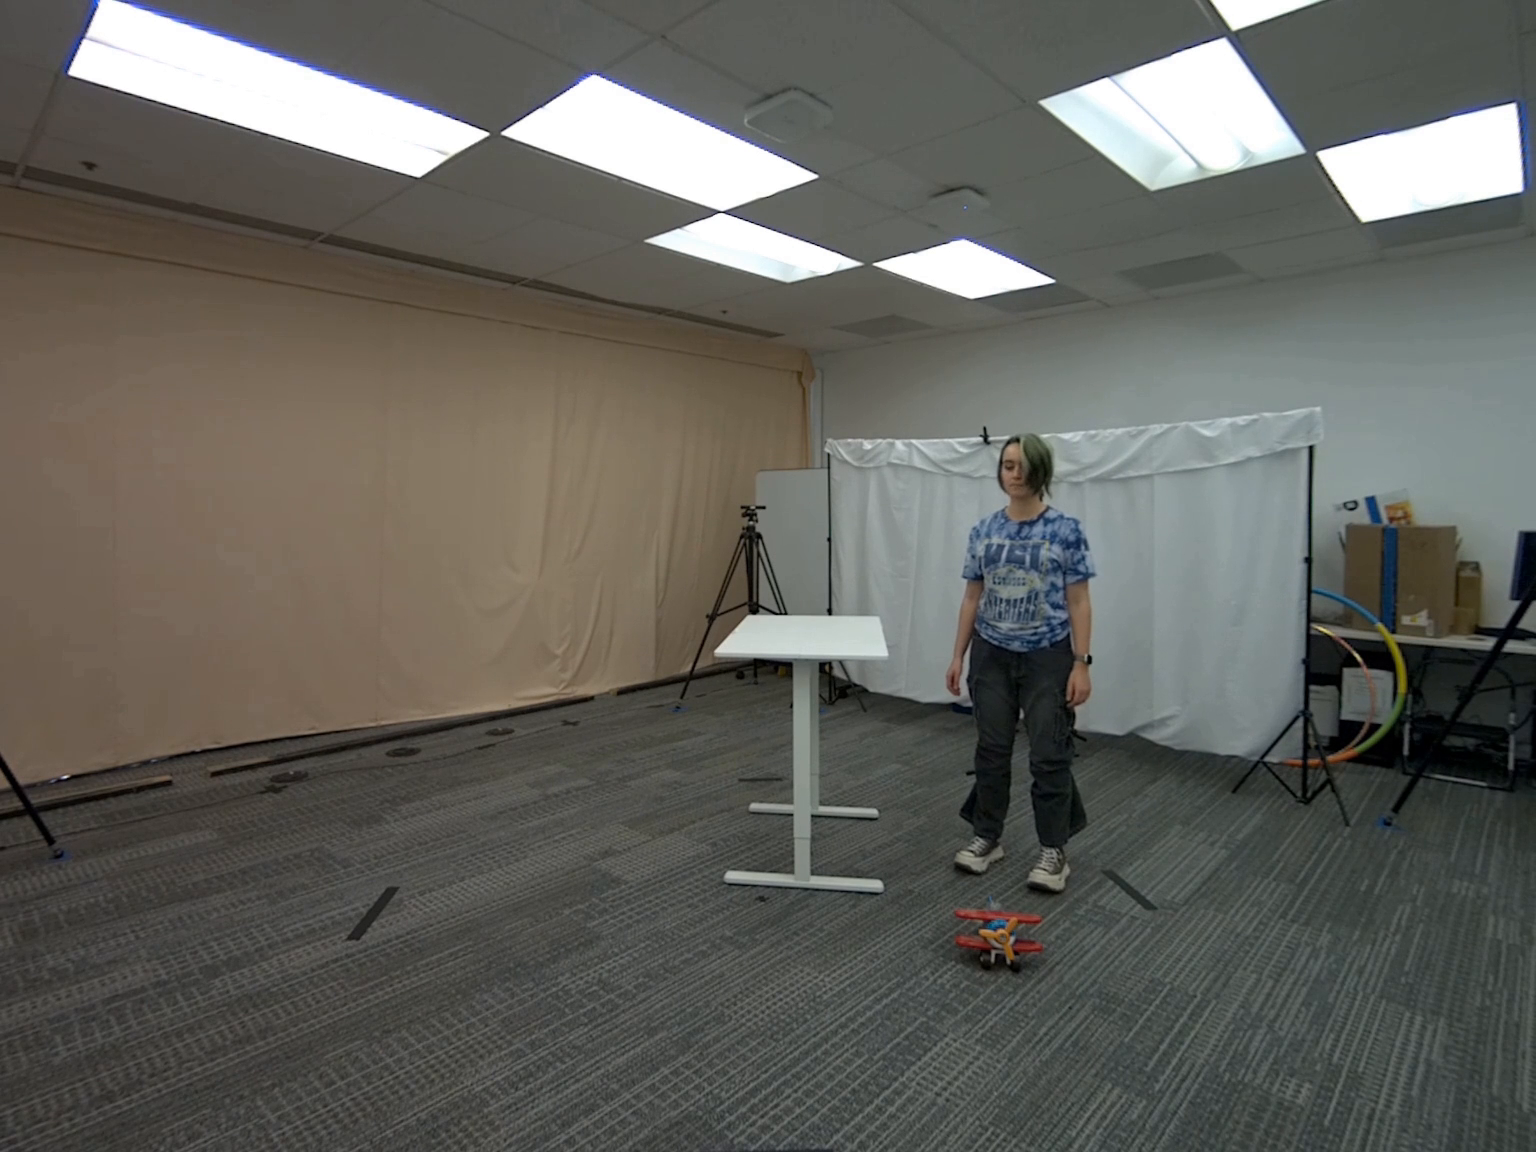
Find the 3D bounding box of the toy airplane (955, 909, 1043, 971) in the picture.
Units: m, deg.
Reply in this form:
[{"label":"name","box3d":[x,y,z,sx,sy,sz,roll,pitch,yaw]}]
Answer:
[{"label":"toy airplane","box3d":[0.695,1.100,2.606,0.246,0.156,0.265,-2,5,-21]}]
